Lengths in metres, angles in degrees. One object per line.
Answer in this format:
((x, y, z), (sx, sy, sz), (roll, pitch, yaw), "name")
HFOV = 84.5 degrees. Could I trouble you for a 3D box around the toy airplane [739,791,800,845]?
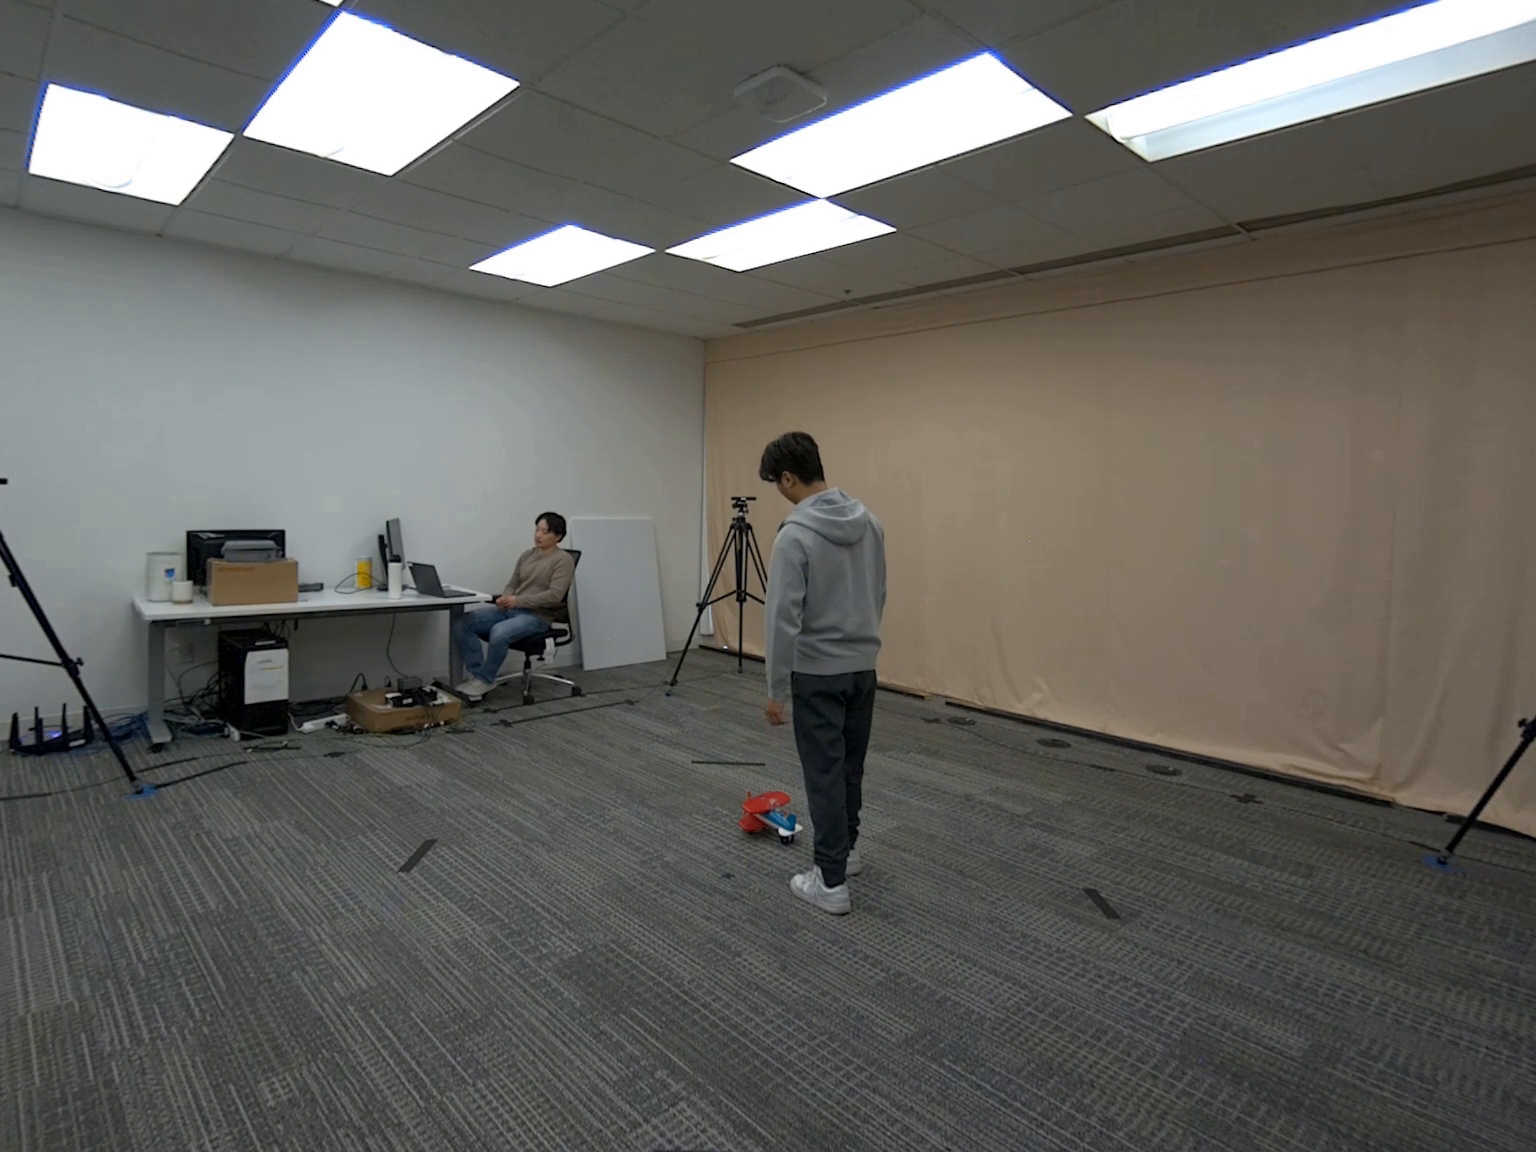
((0.015, 1.002, 3.496), (0.262, 0.156, 0.248), (1, 4, 16), "toy airplane")
